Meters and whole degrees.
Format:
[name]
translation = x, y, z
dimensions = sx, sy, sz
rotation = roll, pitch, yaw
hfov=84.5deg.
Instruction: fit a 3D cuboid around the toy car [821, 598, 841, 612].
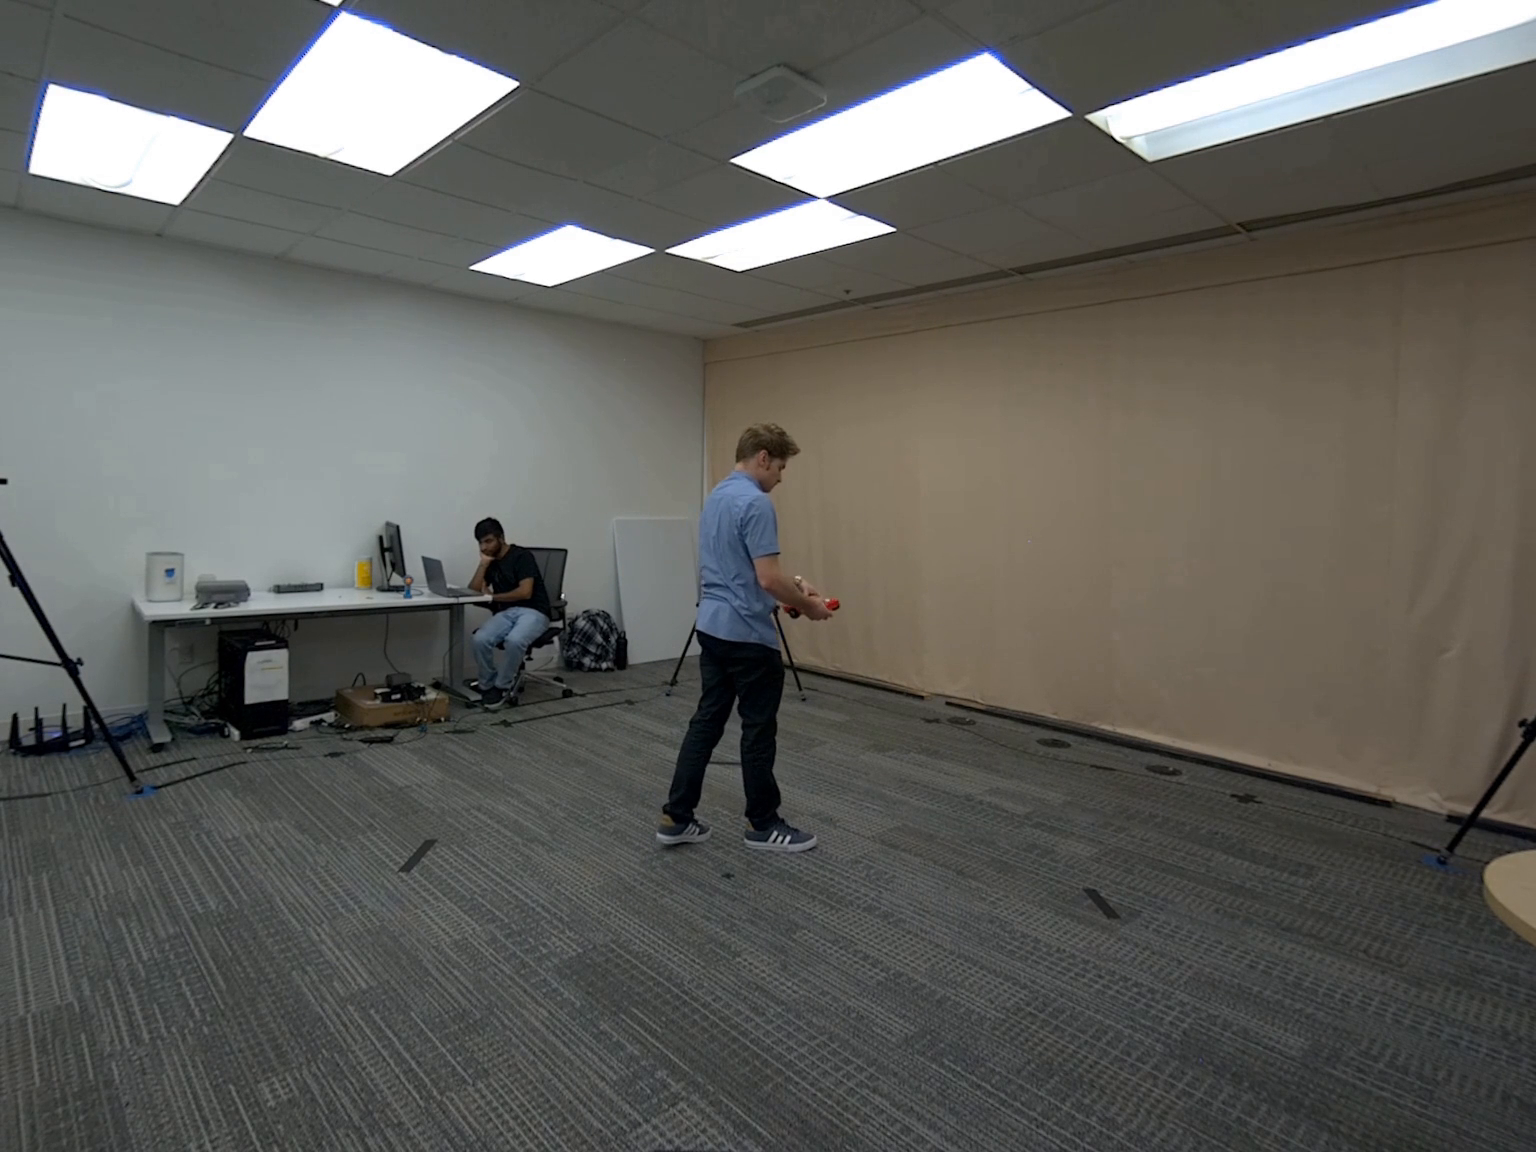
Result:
[toy car]
translation = 0.155, 0.131, 3.481
dimensions = 0.261, 0.082, 0.128
rotation = 7, 18, 43
